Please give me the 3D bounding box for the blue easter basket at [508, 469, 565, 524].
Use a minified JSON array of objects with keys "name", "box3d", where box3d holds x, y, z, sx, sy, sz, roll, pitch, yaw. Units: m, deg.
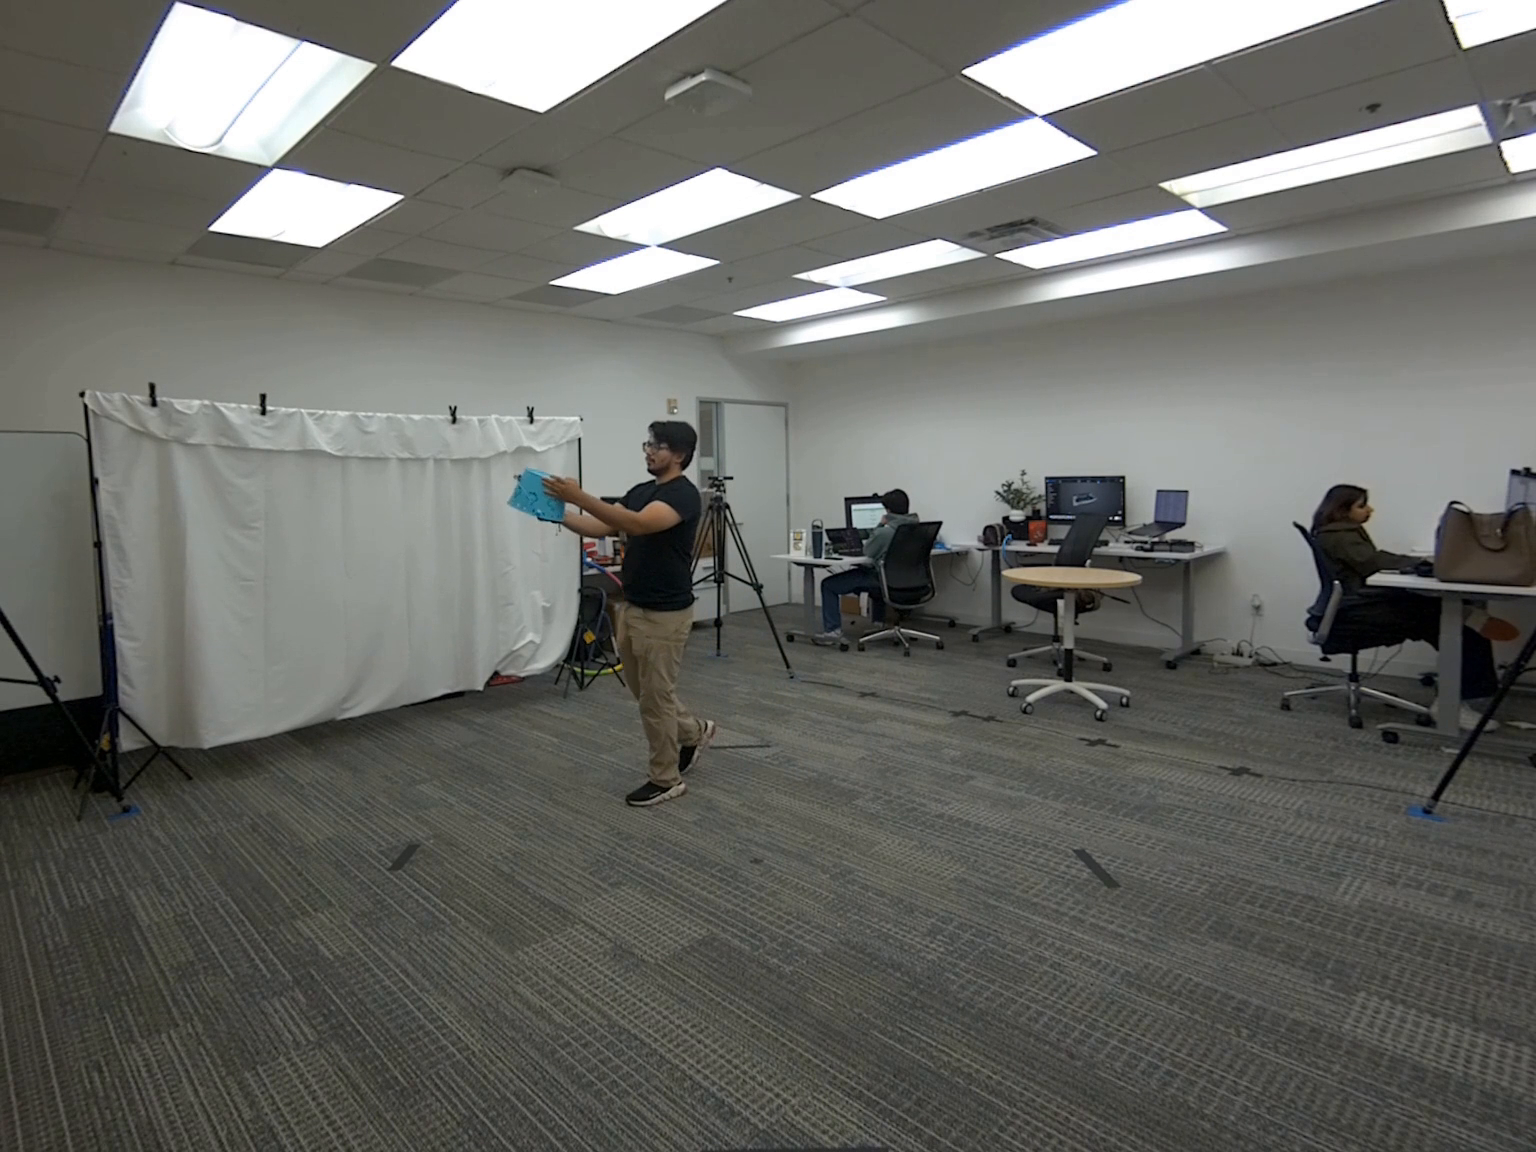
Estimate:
[{"name":"blue easter basket","box3d":[-0.903,-0.325,3.395,0.243,0.155,0.246,18,8,-4]}]
